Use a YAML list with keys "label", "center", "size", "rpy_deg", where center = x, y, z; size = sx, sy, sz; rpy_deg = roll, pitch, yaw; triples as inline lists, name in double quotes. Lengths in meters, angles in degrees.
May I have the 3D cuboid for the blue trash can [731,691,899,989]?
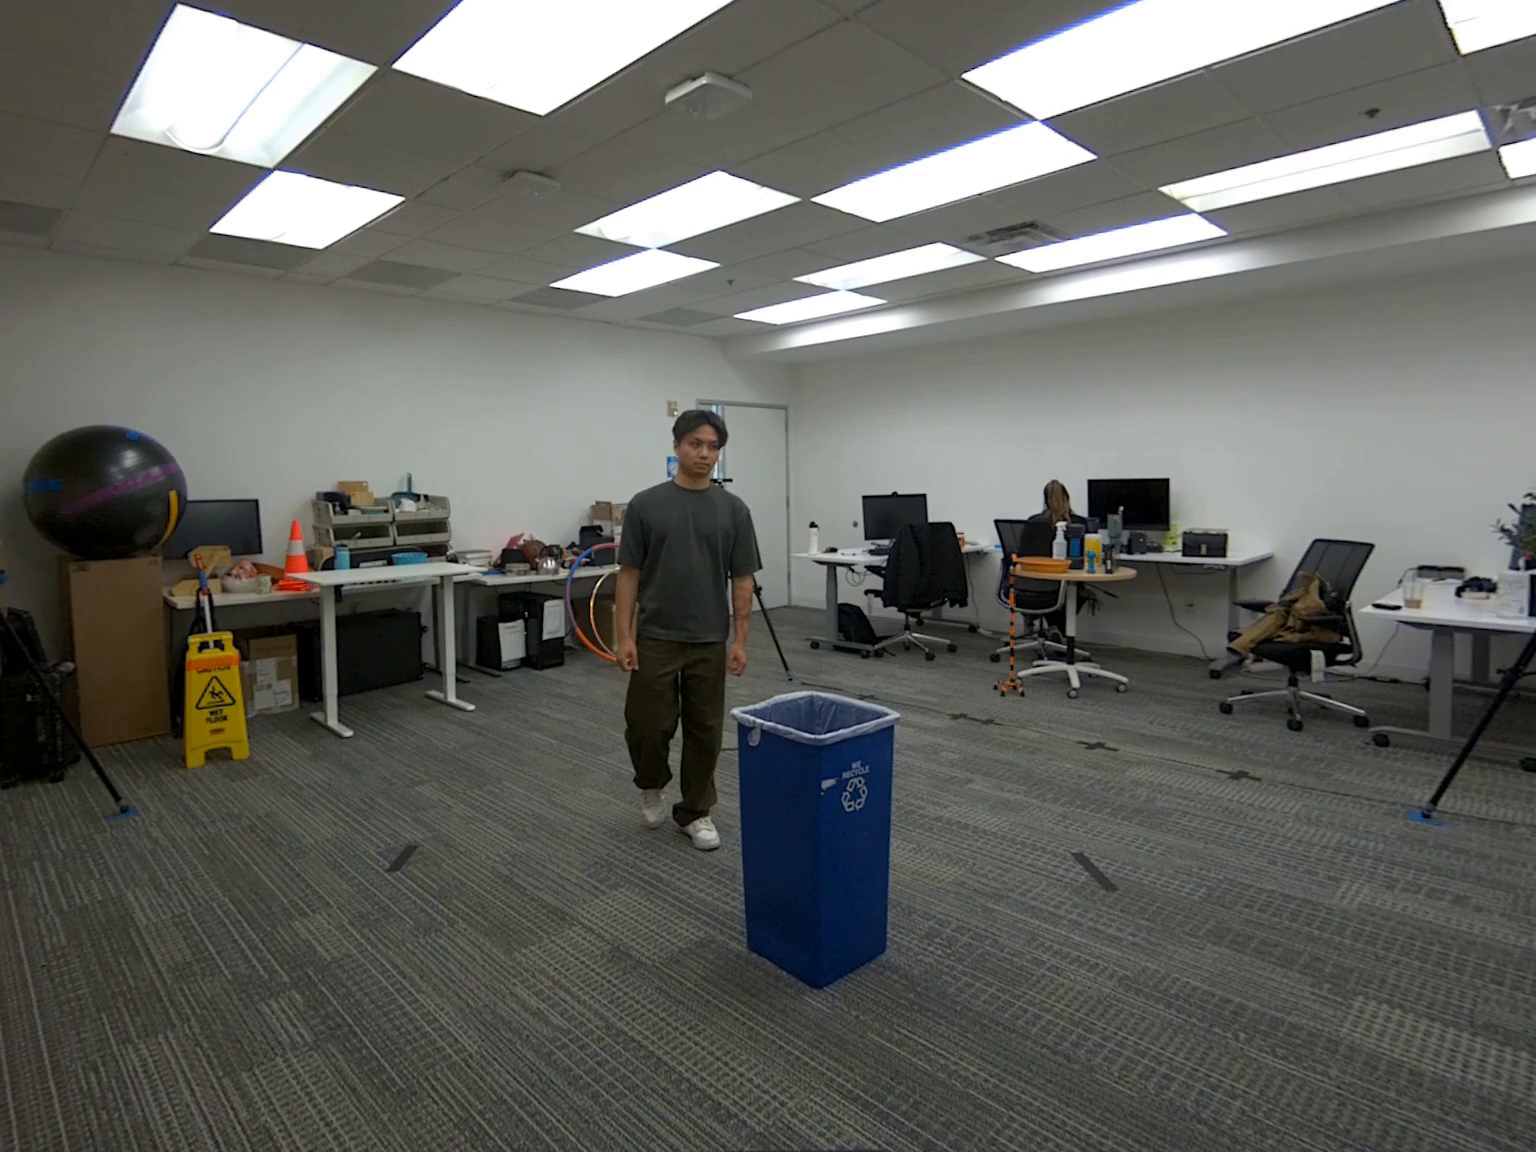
- label: "blue trash can"
  center: [0.139, 0.752, 2.515]
  size: [0.368, 0.711, 0.386]
  rpy_deg: [-4, 6, -43]
